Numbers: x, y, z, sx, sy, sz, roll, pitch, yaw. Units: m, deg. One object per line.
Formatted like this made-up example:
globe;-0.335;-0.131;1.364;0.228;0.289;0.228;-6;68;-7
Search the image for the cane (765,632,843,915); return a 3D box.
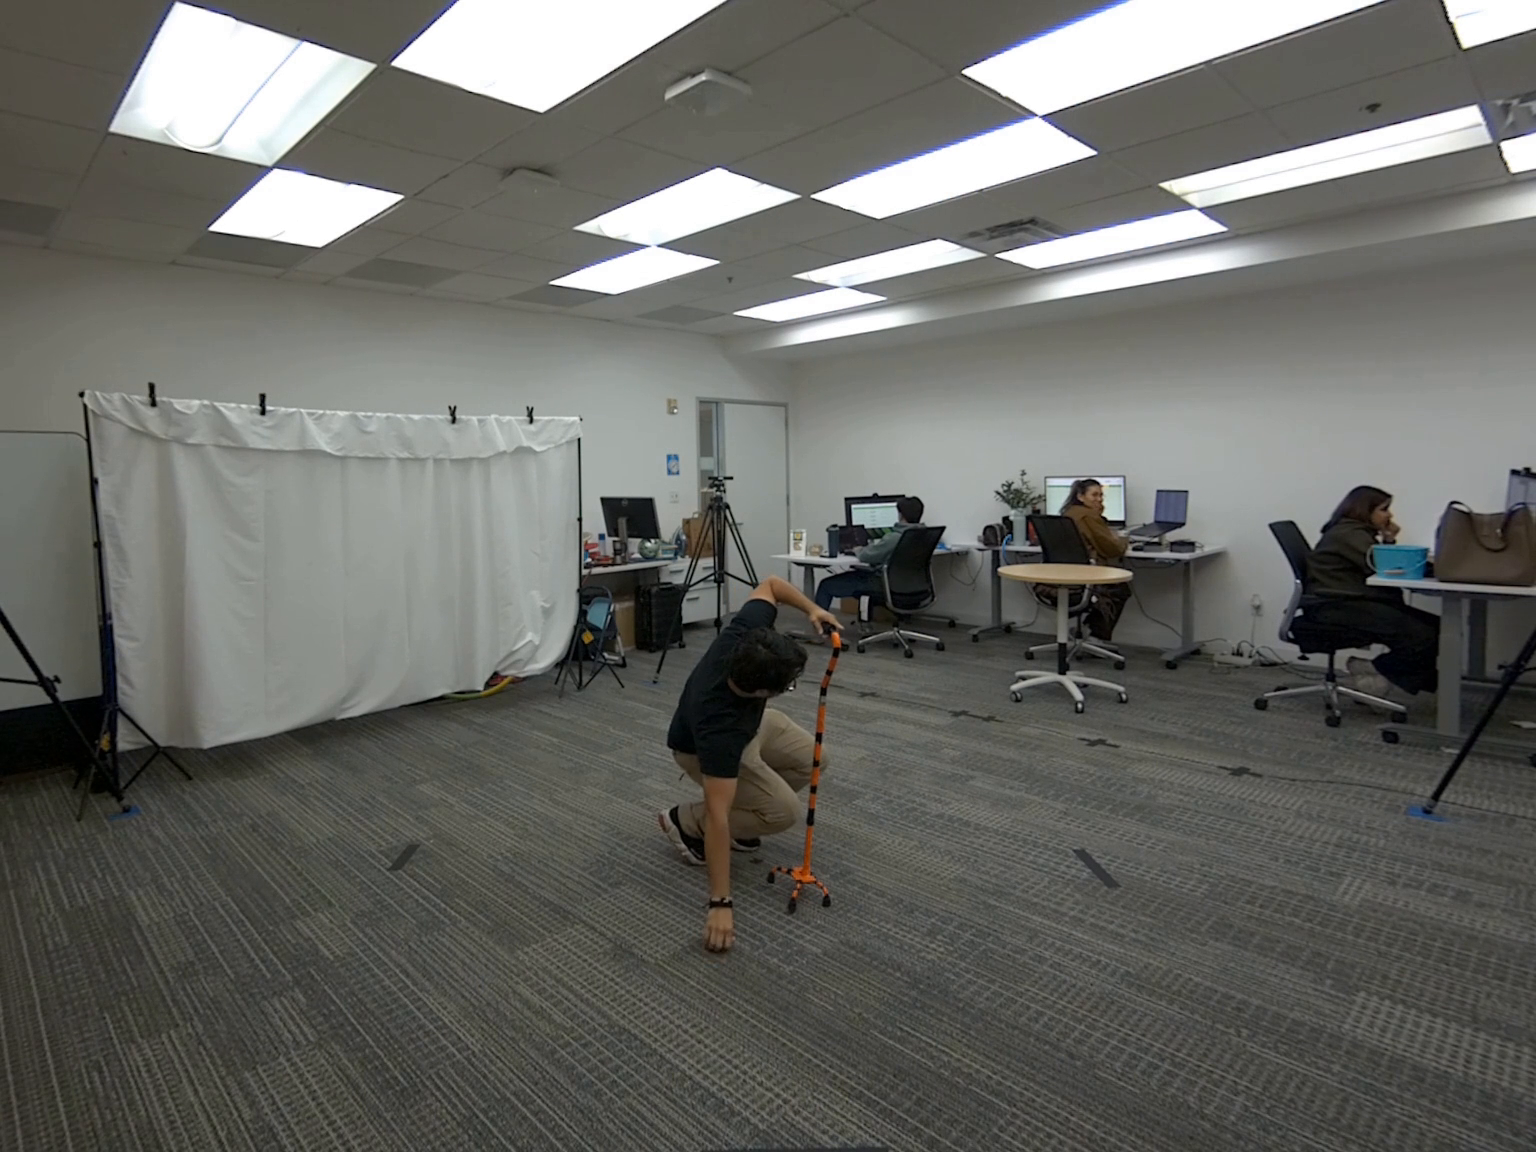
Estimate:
cane;0.145;0.614;2.803;0.148;0.904;0.211;3;5;-22
